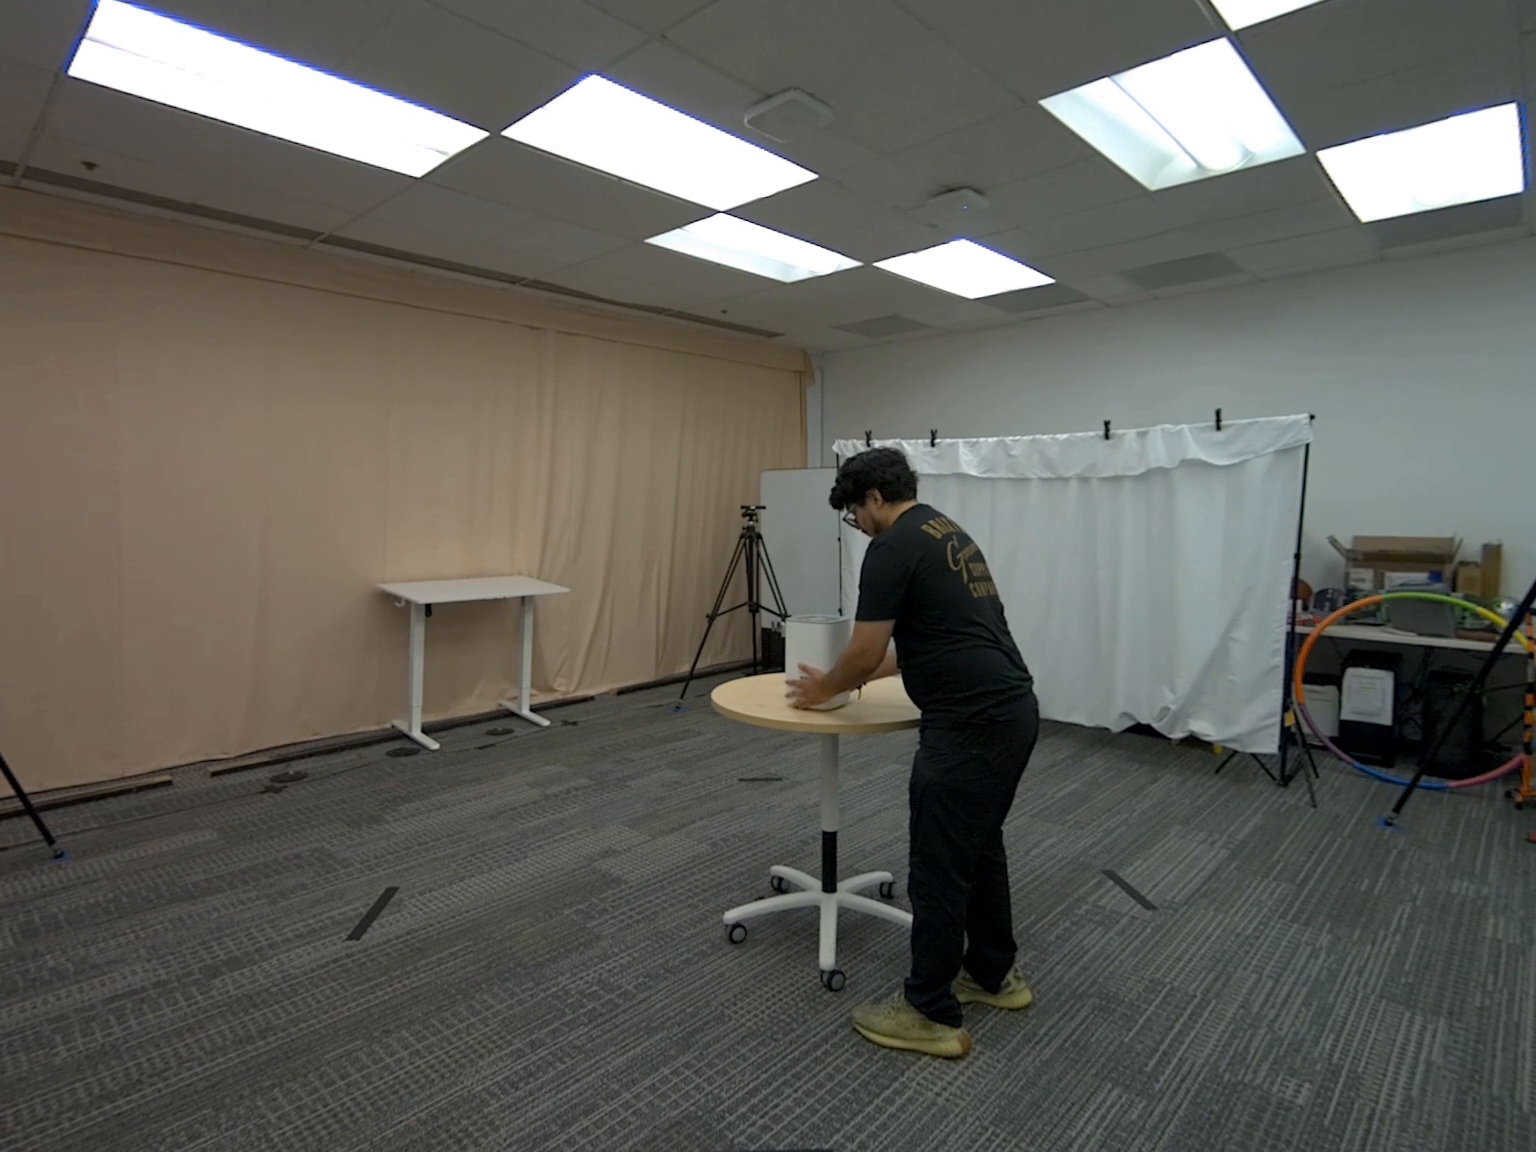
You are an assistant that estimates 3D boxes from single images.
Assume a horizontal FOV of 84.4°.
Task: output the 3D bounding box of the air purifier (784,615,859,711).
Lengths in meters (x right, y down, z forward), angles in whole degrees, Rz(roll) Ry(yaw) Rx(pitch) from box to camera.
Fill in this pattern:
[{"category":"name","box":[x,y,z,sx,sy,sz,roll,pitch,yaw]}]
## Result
[{"category":"air purifier","box":[0.167,0.263,2.555,0.176,0.265,0.167,2,5,32]}]
